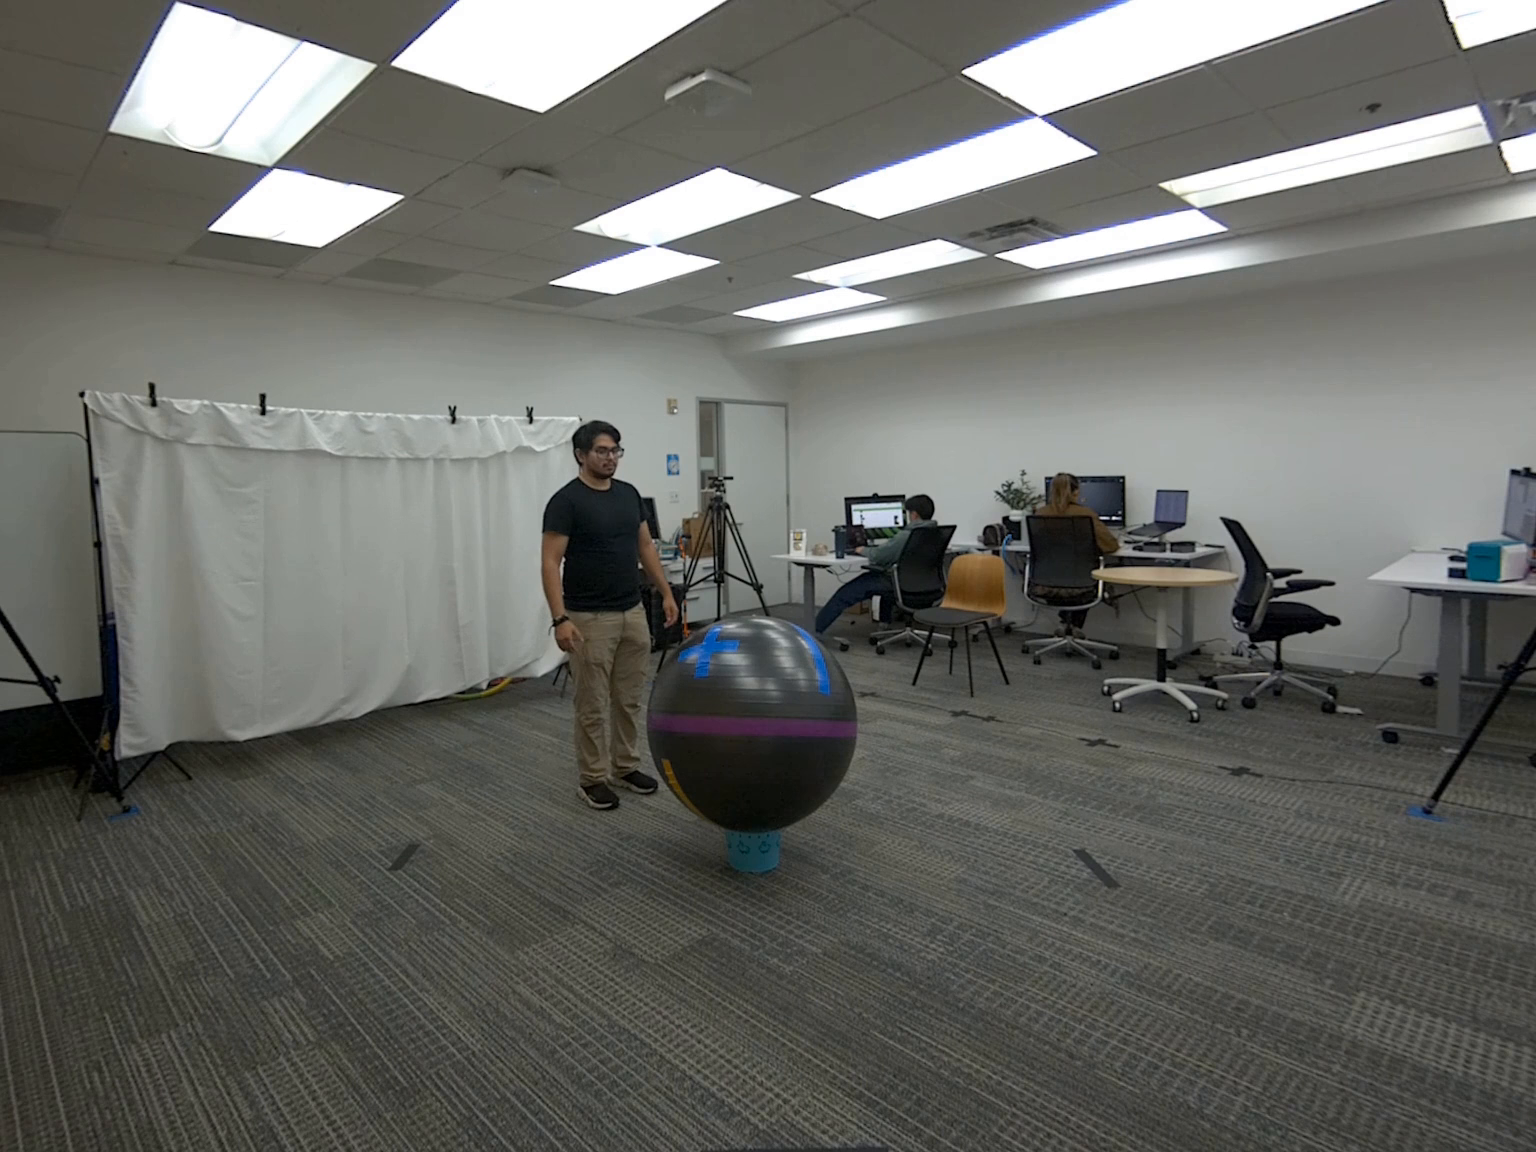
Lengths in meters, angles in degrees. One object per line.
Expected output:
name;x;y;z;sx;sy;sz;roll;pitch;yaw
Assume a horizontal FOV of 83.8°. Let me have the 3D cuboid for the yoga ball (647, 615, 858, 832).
yoga ball;-0.059;0.526;3.095;0.757;0.755;0.762;-1;5;-2
